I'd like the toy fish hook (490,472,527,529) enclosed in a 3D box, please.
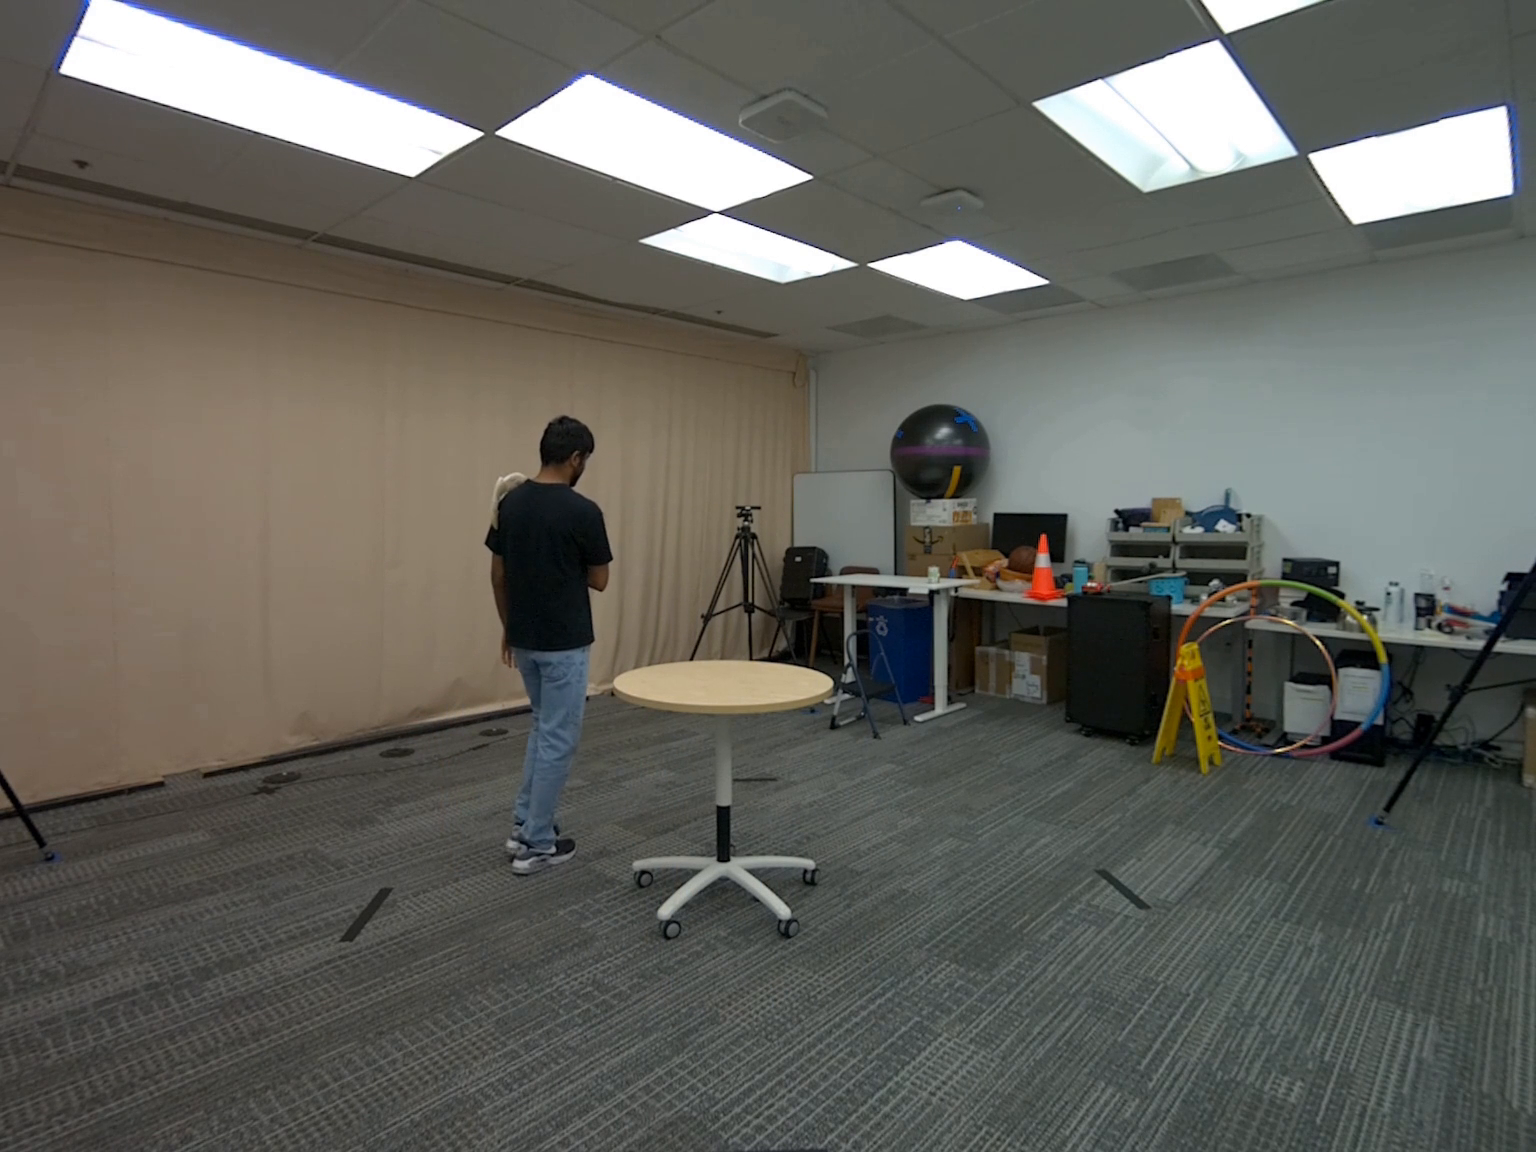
[{"bbox_3d":[-1.003,-0.157,3.318,0.050,0.501,0.220,12,22,33],"label":"toy fish hook"}]
